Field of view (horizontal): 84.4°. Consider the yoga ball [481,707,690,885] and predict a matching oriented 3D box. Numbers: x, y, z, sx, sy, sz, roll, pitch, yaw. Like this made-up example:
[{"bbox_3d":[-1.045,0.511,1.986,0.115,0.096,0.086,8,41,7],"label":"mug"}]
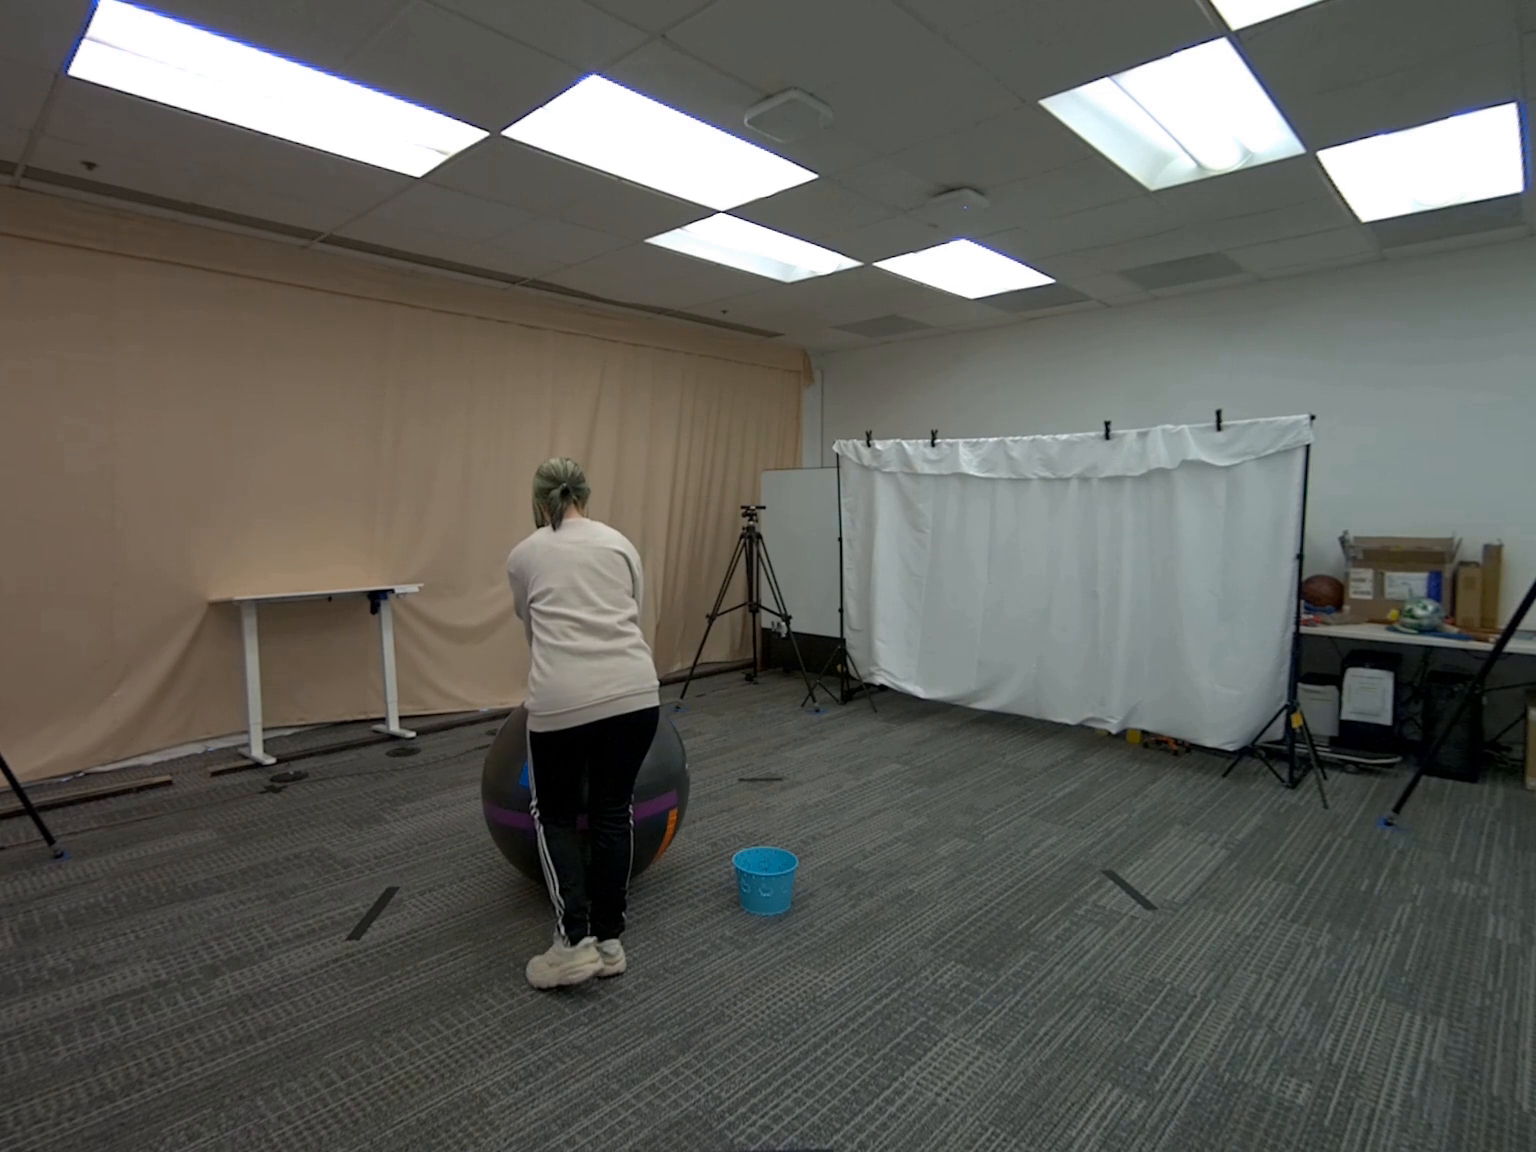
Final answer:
[{"bbox_3d":[-0.668,0.765,3.111,0.757,0.756,0.760,0,4,-2],"label":"yoga ball"}]
